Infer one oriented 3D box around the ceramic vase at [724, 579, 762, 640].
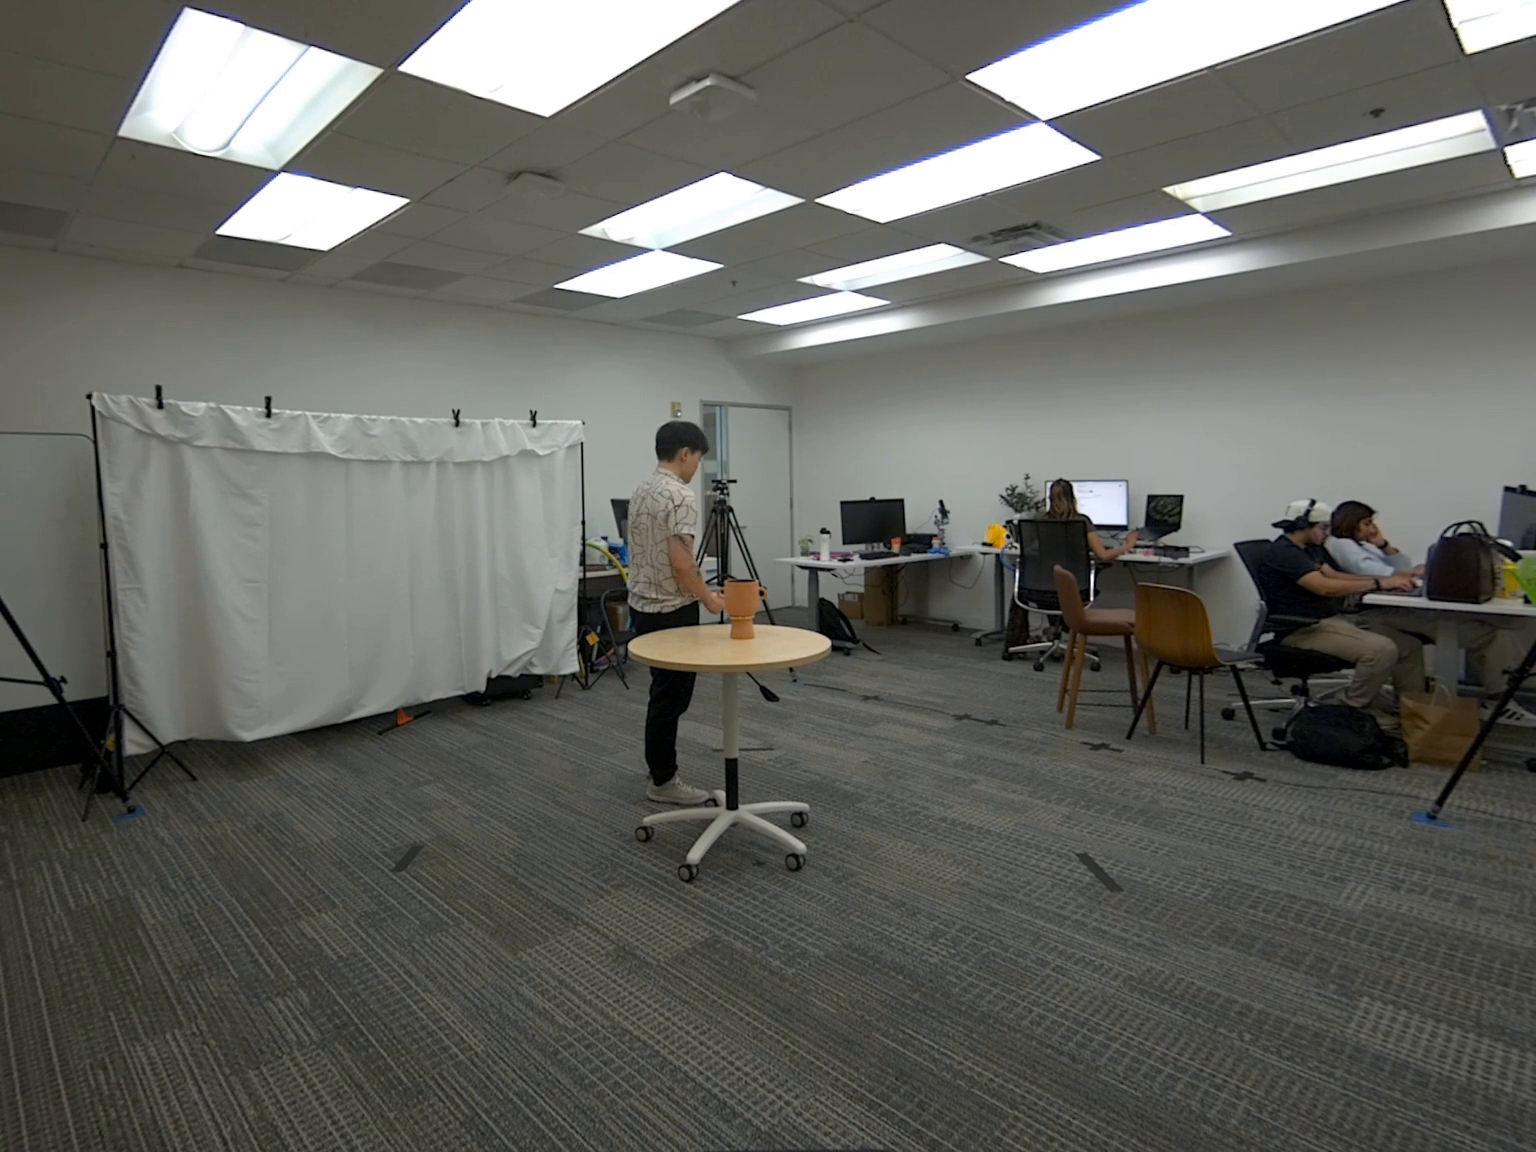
[{"bbox_3d":[-0.098,0.129,3.329,0.131,0.219,0.163,-4,5,-45],"label":"ceramic vase"}]
